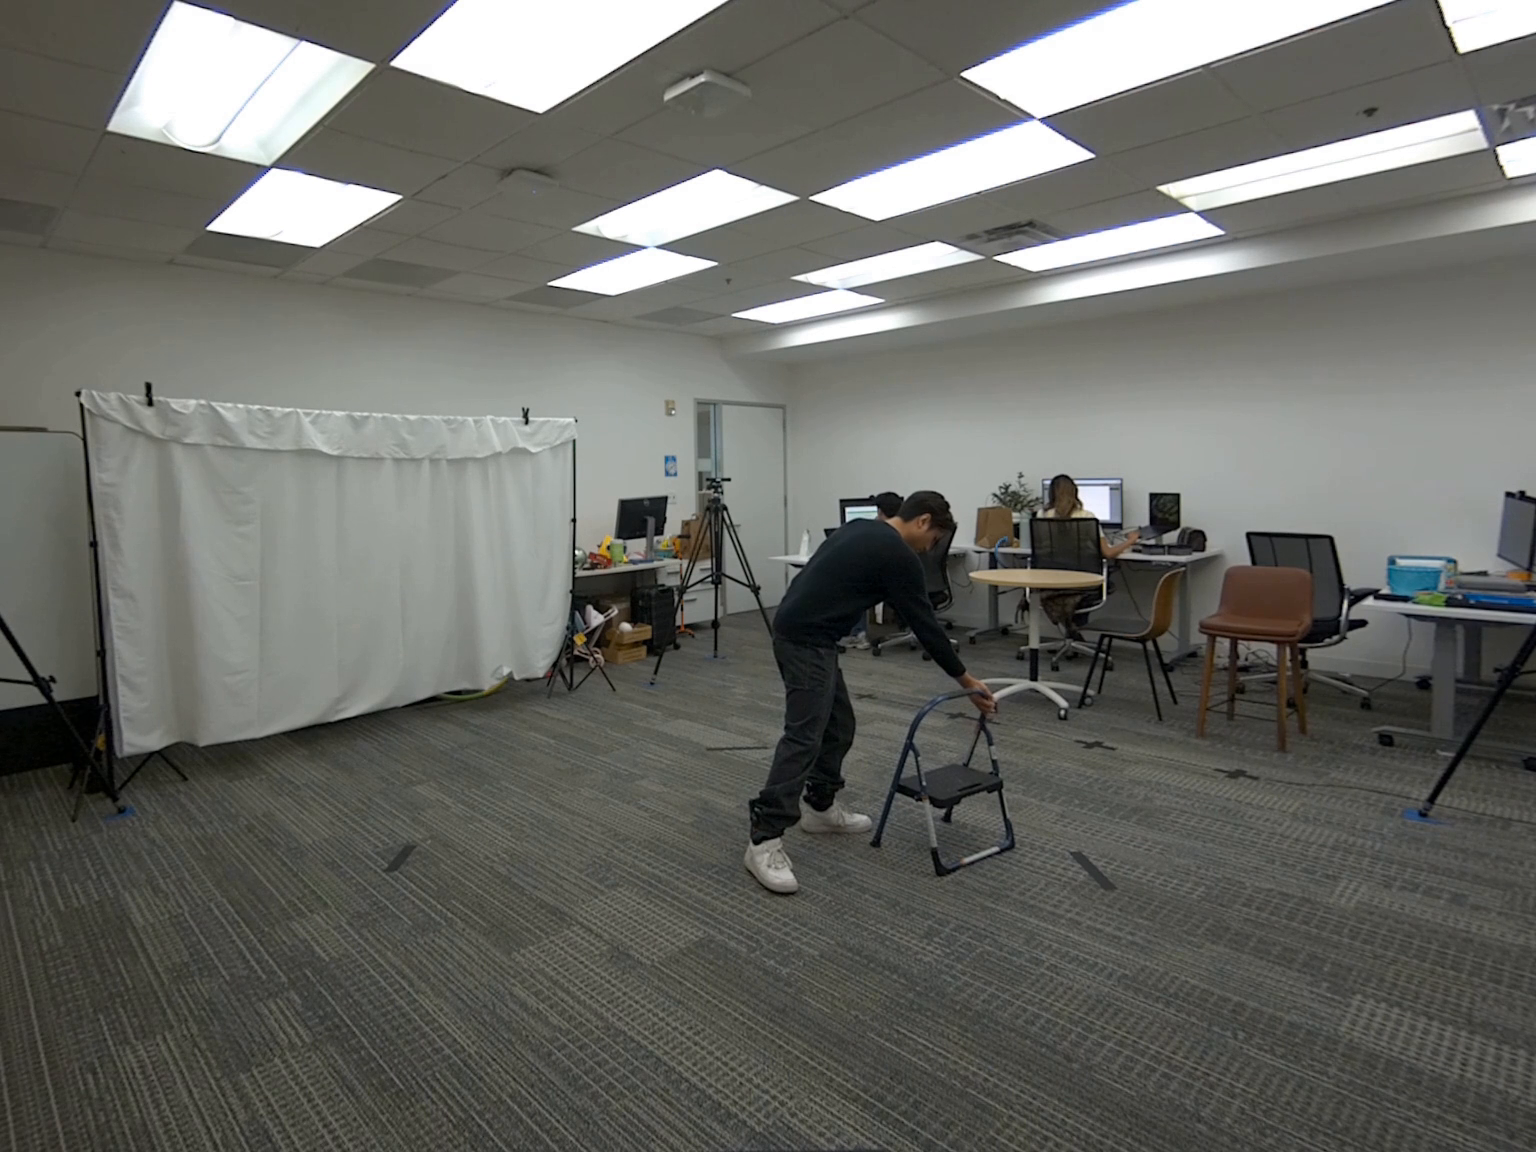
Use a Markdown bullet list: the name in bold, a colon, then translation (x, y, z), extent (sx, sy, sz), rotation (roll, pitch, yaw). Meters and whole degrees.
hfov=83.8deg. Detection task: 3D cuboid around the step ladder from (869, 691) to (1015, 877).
- **step ladder**: translation (0.653, 0.717, 3.195), extent (0.419, 0.604, 0.359), rotation (-4, 4, -35)
